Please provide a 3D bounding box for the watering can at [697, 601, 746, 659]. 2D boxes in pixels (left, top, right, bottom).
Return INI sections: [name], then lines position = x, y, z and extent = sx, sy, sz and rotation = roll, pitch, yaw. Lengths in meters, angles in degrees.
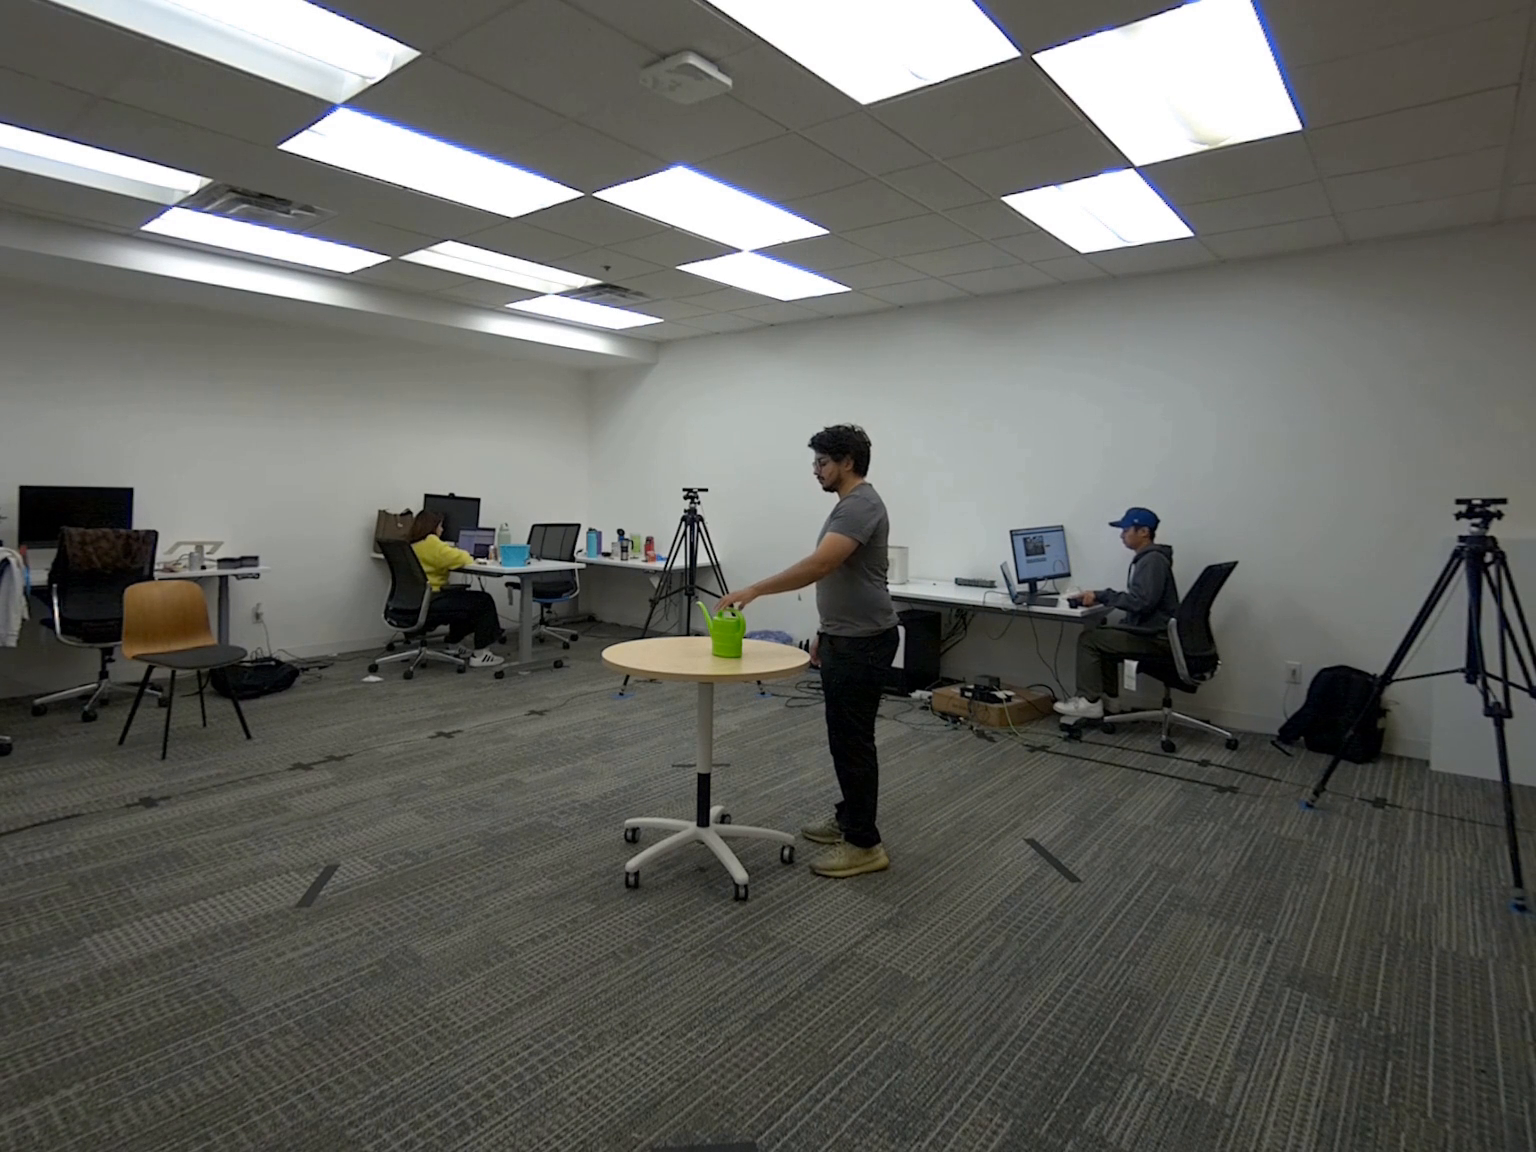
[watering can]
position = -0.178, 0.196, 3.151
extent = 0.095, 0.176, 0.286
rotation = -1, 6, -28
